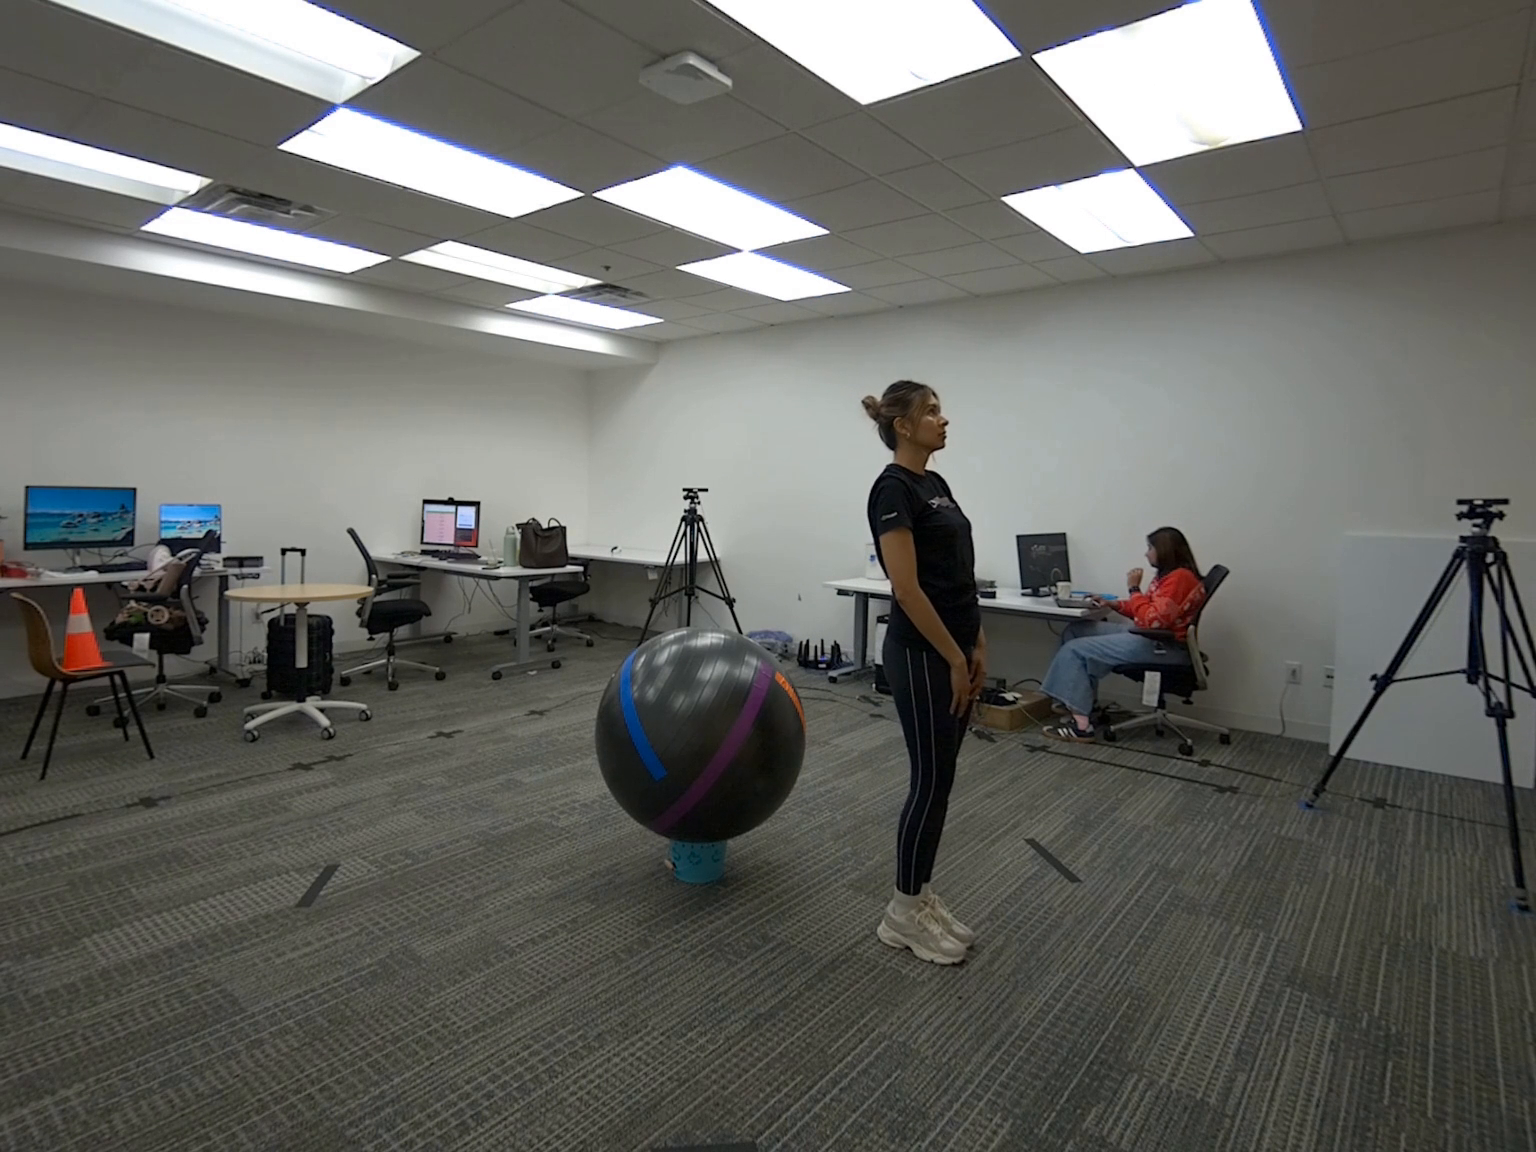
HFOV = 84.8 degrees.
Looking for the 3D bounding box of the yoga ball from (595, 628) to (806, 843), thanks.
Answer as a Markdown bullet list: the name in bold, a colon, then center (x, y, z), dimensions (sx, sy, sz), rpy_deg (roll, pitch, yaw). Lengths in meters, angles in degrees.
- **yoga ball**: center (-0.256, 0.562, 3.068), dimensions (0.757, 0.756, 0.762), rpy_deg (1, 4, -2)
